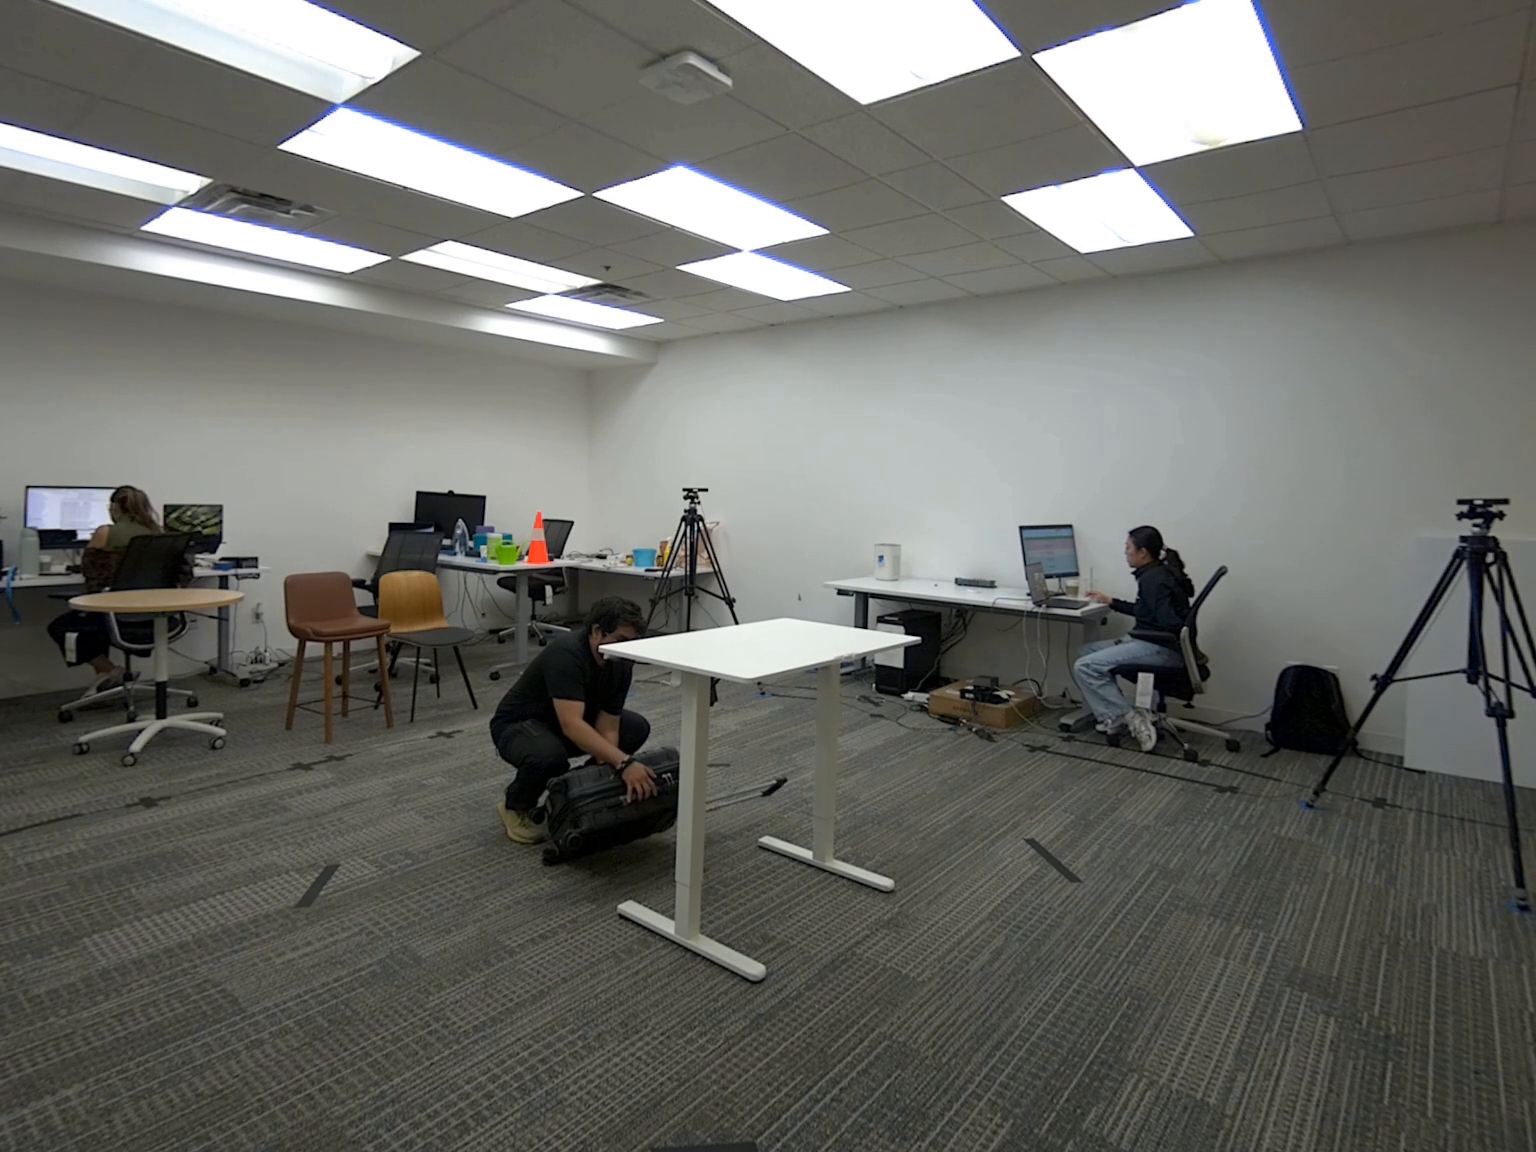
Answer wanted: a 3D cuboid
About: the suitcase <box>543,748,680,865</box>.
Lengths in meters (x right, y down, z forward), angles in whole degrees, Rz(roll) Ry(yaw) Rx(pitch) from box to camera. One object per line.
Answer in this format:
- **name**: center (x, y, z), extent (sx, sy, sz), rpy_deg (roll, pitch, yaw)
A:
- **suitcase**: center (-0.419, 0.823, 3.301), extent (0.954, 0.265, 0.382), rpy_deg (-9, -29, -35)
